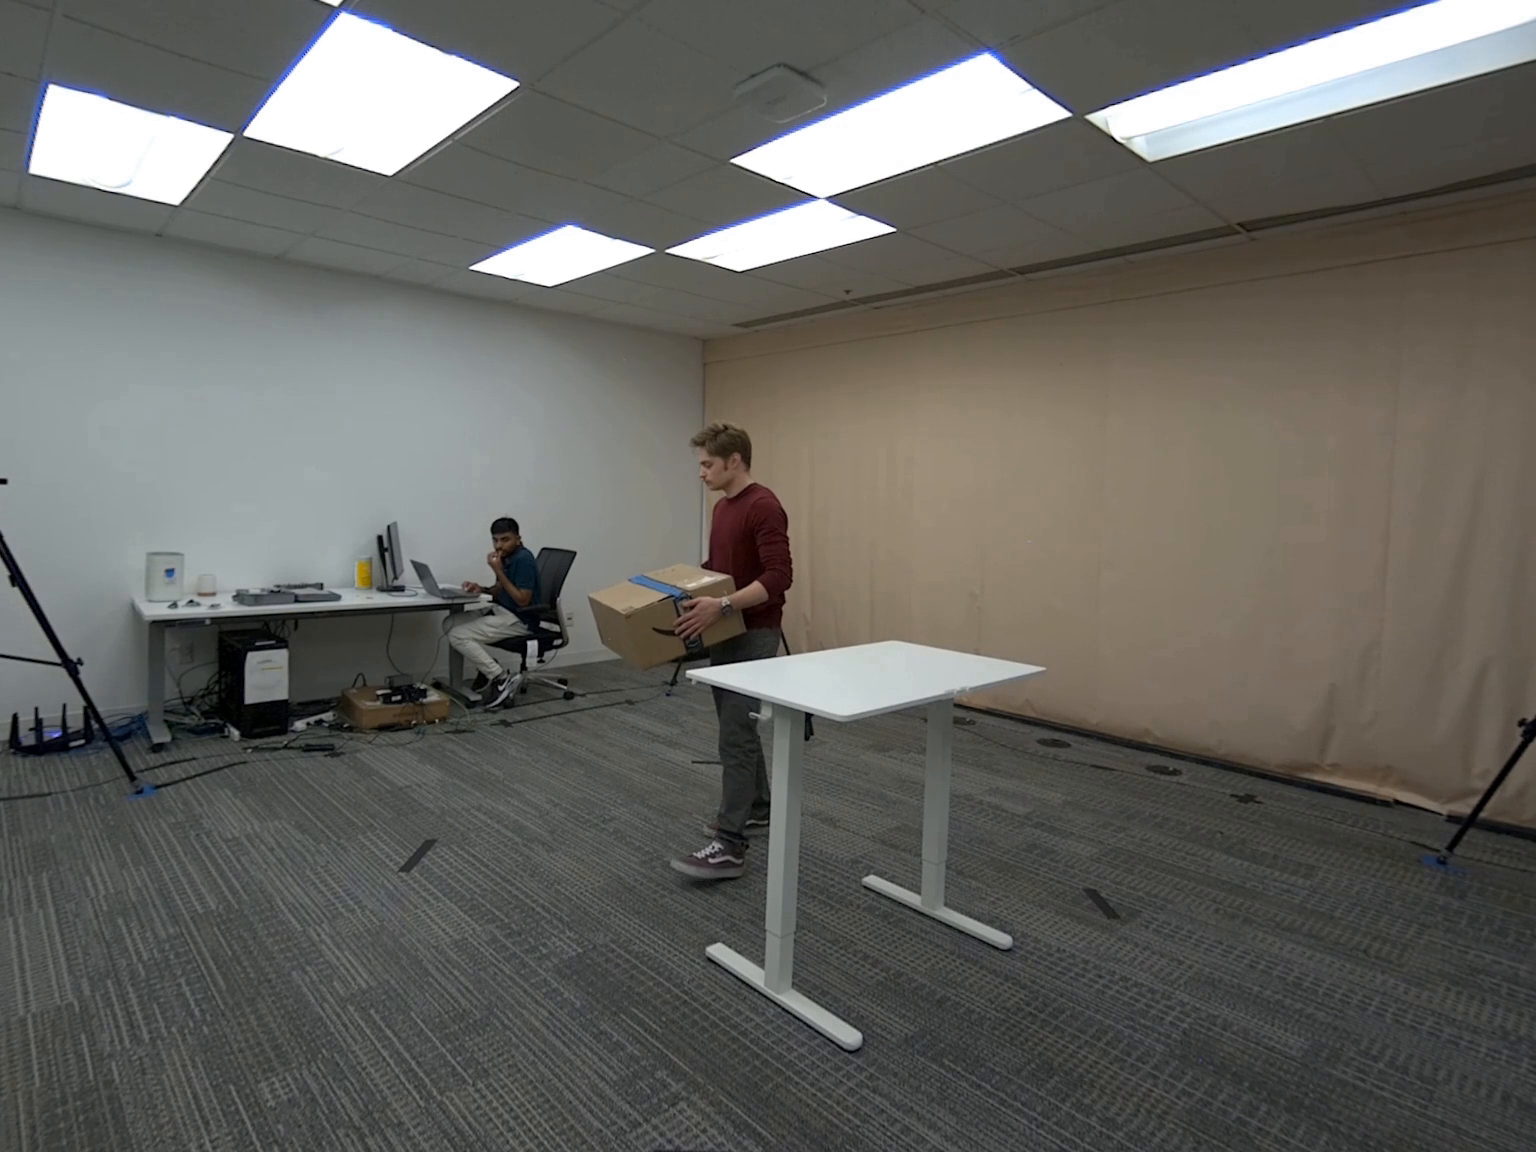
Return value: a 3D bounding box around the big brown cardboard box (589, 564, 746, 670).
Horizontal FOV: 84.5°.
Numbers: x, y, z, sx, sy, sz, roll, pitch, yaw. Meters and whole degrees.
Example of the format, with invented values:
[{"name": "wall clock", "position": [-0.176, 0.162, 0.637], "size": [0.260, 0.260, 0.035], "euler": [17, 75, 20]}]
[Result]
[{"name": "big brown cardboard box", "position": [-0.406, 0.137, 3.214], "size": [0.413, 0.231, 0.600], "euler": [-19, 12, -22]}]
